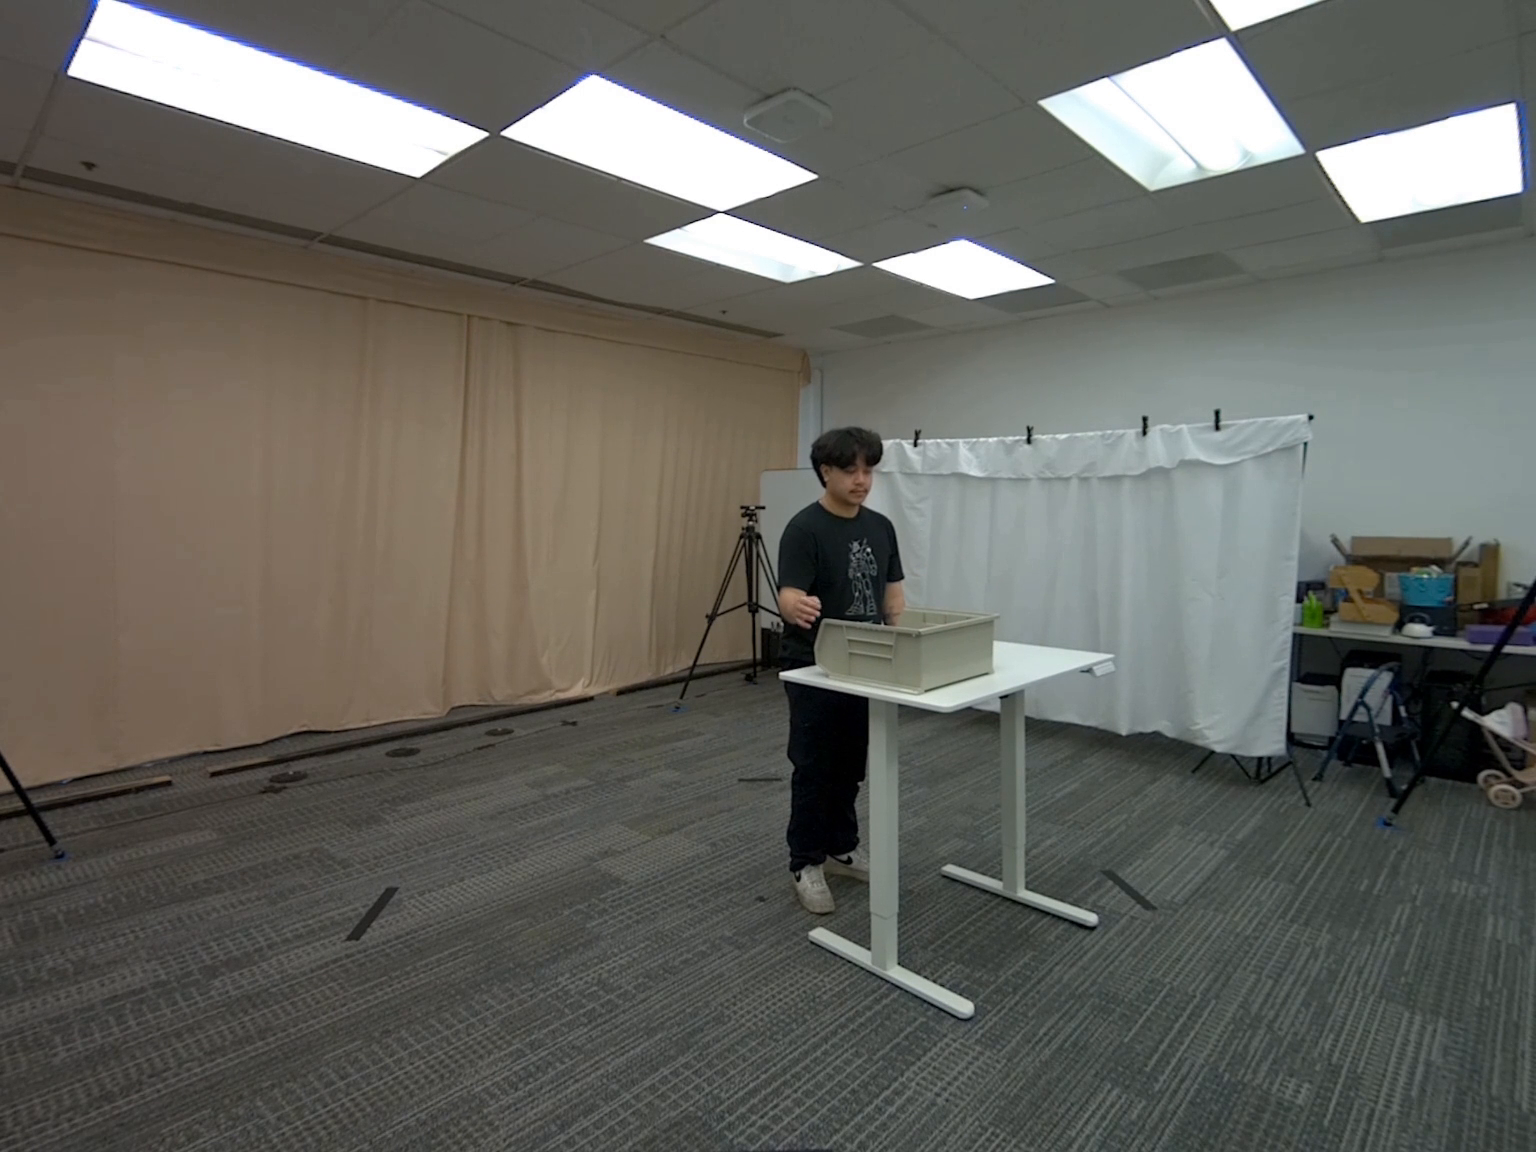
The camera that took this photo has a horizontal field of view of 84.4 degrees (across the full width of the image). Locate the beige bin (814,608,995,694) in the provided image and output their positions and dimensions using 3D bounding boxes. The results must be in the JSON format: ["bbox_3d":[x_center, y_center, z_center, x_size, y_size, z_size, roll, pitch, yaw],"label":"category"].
[{"bbox_3d":[0.417,0.215,2.536,0.409,0.188,0.390,-5,7,-45],"label":"beige bin"}]
